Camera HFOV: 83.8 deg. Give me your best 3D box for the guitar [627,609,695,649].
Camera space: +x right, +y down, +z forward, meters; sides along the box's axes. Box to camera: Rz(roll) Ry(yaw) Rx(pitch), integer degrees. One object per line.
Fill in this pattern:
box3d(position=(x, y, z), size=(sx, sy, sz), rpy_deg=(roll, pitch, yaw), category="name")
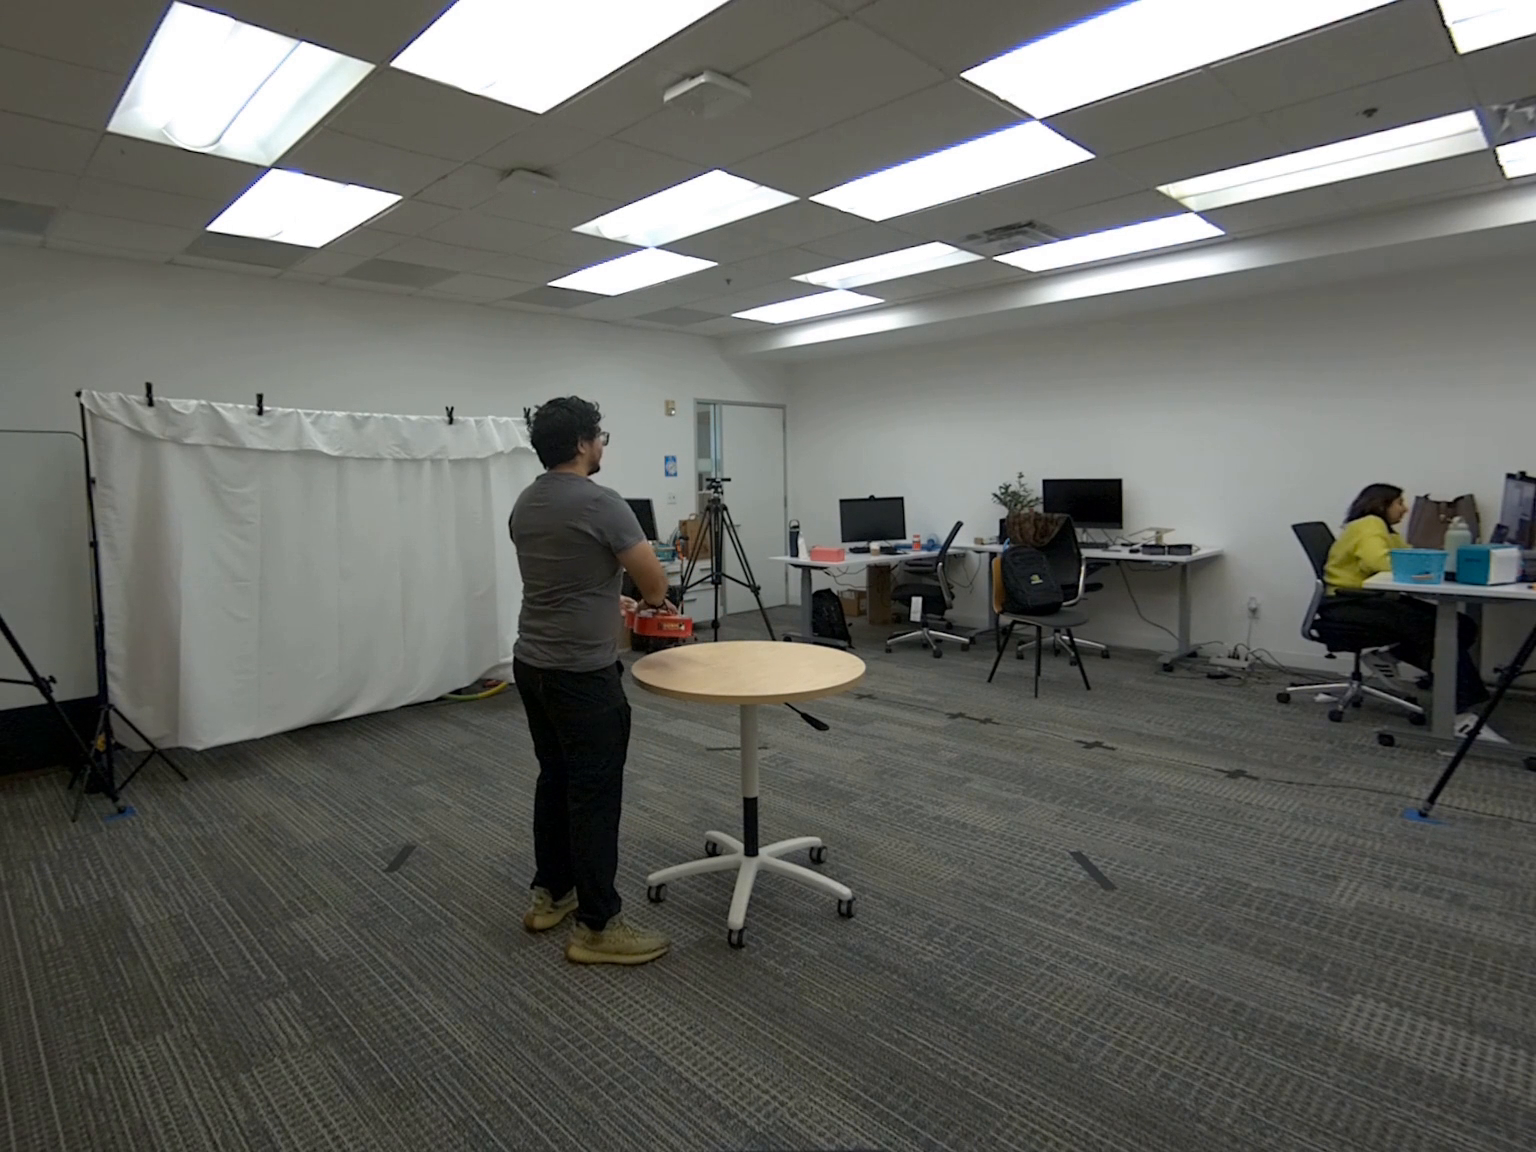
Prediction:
box3d(position=(-0.388, 0.150, 3.000), size=(0.190, 0.070, 0.506), rpy_deg=(4, 2, -16), category="guitar")
